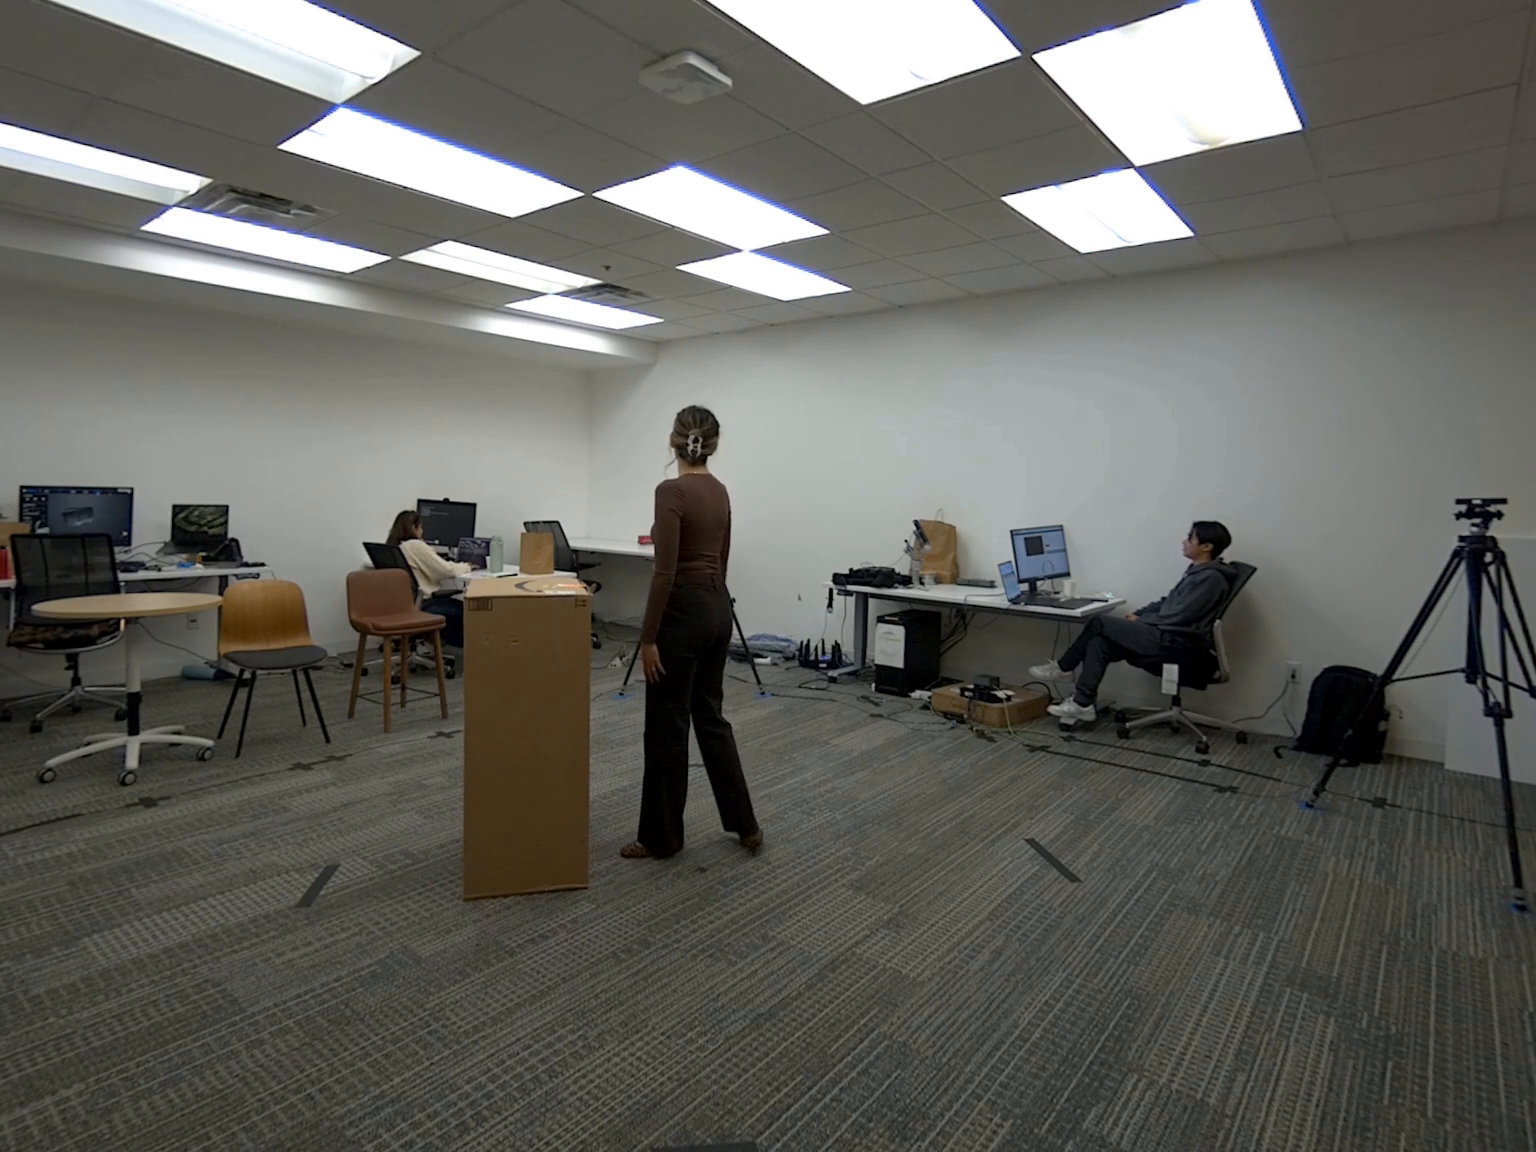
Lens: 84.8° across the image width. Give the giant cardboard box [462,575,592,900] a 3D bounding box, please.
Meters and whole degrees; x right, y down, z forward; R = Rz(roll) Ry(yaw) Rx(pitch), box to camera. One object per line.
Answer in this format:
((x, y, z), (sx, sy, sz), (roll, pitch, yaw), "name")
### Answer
((-0.909, 0.539, 3.147), (0.440, 1.024, 0.595), (0, 4, -15), "giant cardboard box")
